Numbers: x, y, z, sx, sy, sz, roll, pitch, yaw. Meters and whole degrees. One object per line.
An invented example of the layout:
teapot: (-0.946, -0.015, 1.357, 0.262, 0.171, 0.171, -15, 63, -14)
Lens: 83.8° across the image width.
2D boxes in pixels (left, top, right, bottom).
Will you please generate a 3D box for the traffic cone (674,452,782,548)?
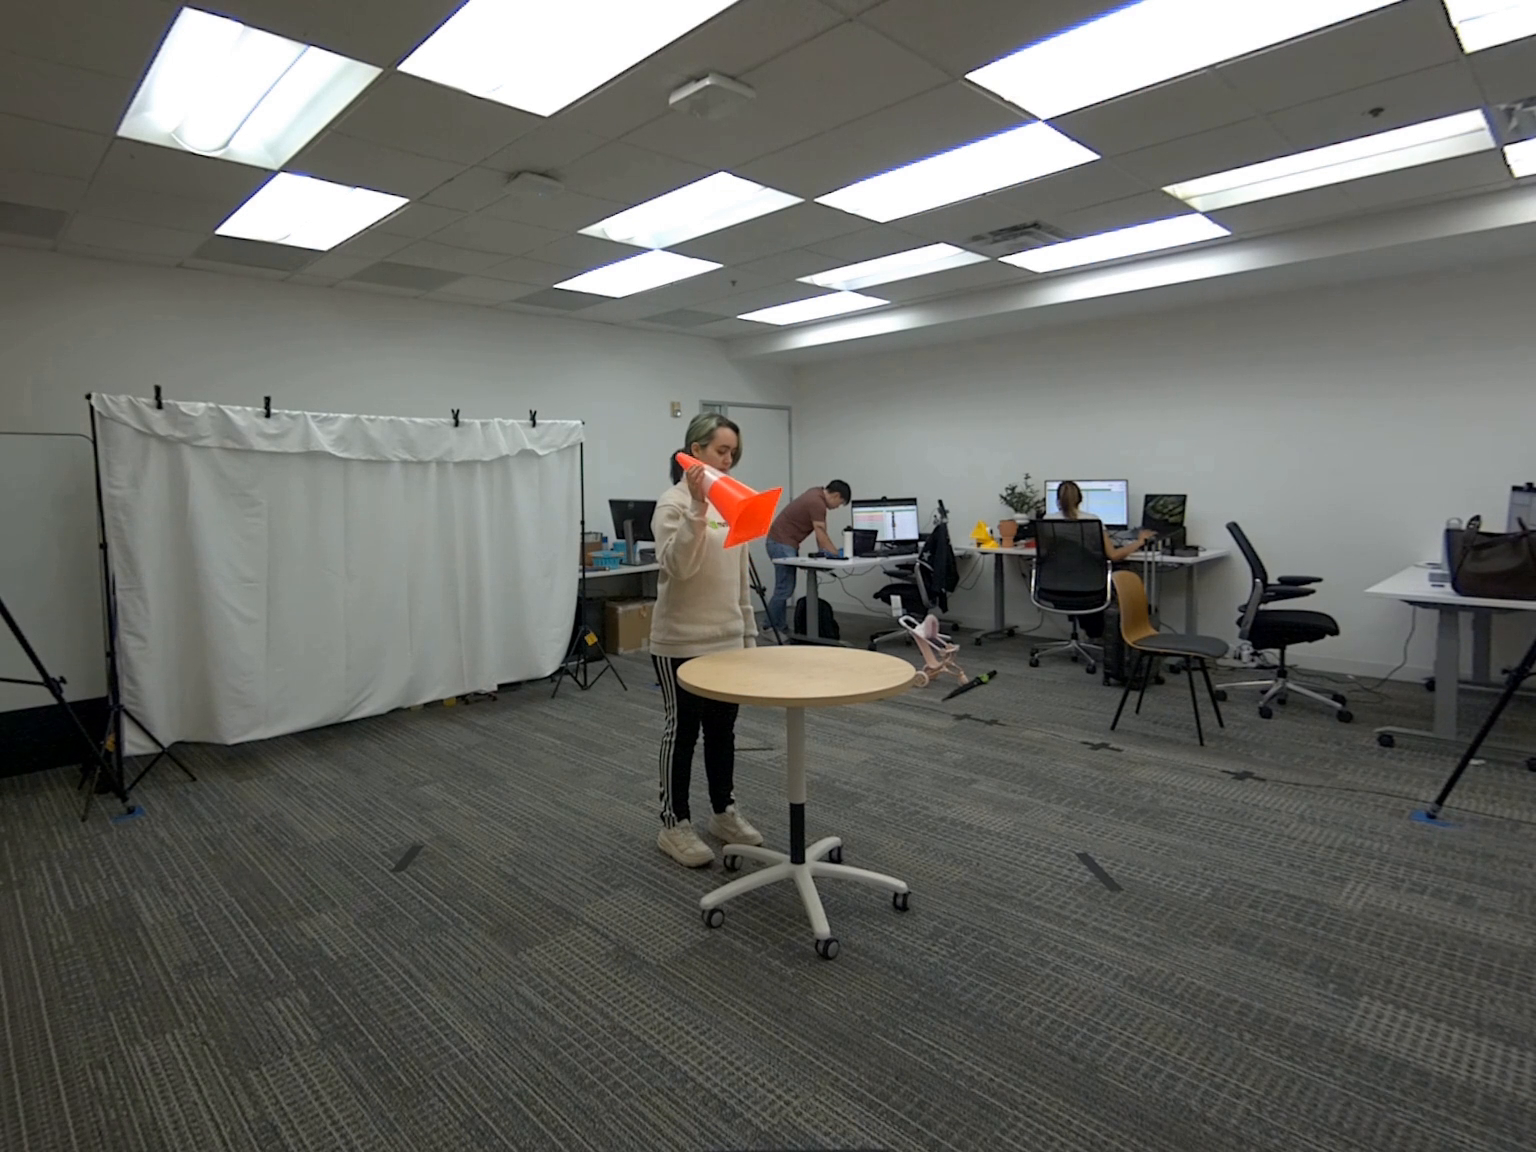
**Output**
traffic cone: (-0.172, -0.291, 2.829, 0.201, 0.200, 0.397, -18, 50, -40)
